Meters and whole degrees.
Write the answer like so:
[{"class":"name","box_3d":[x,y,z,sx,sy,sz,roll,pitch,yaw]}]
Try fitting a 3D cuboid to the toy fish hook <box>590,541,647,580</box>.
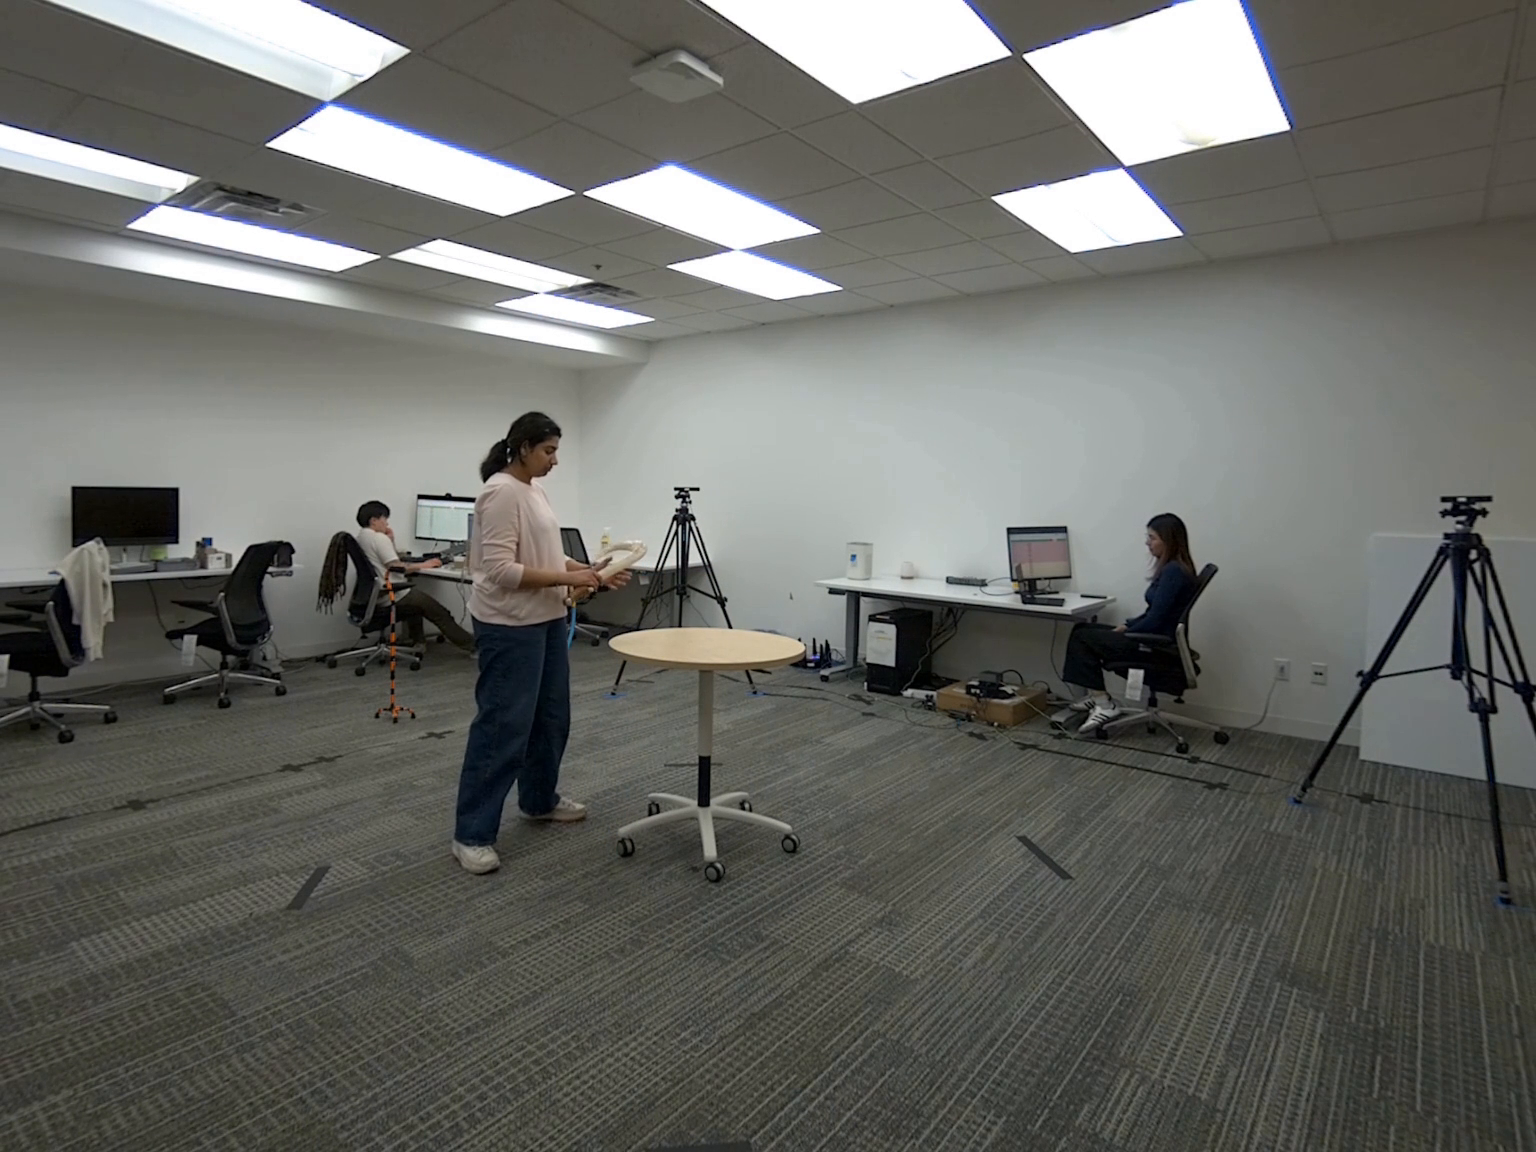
[{"class":"toy fish hook","box_3d":[-0.690,-0.015,3.332,0.230,0.047,0.507,-4,27,26]}]
